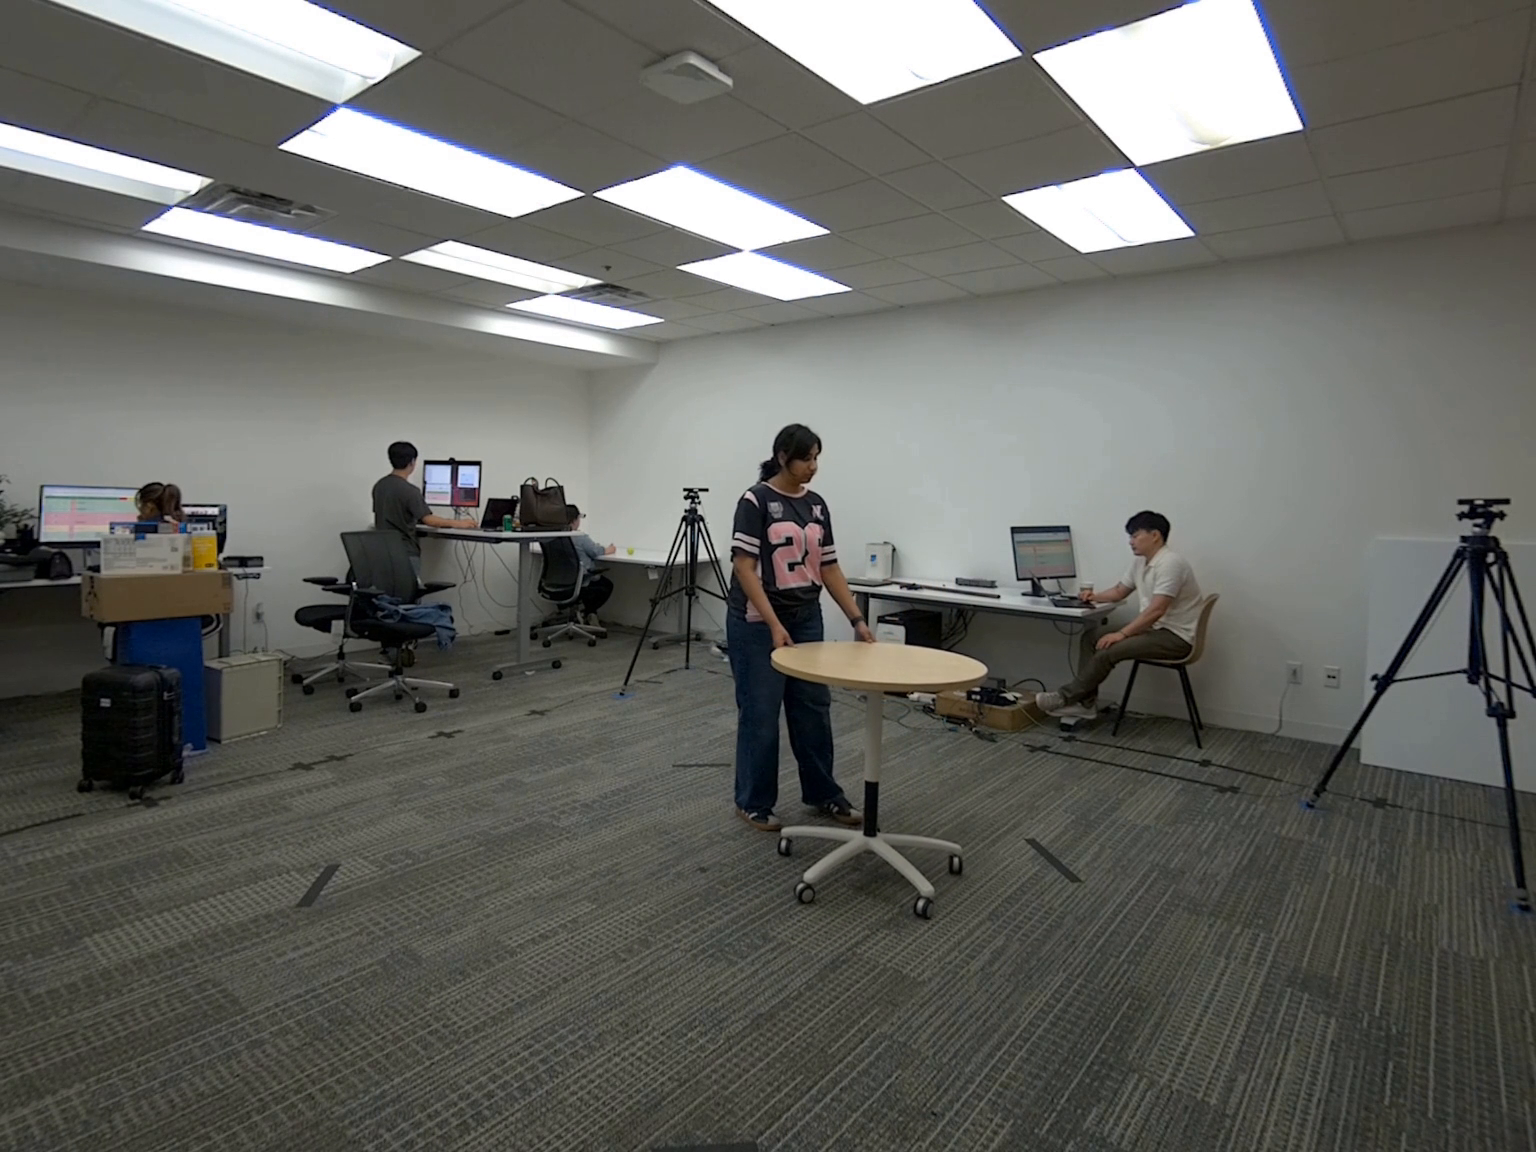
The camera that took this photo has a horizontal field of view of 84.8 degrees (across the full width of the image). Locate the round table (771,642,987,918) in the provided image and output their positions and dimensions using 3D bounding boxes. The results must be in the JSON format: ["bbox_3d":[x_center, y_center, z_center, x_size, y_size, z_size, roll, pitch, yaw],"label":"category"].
[{"bbox_3d":[0.363,0.692,3.094,0.763,0.792,0.767,2,4,-2],"label":"round table"}]
